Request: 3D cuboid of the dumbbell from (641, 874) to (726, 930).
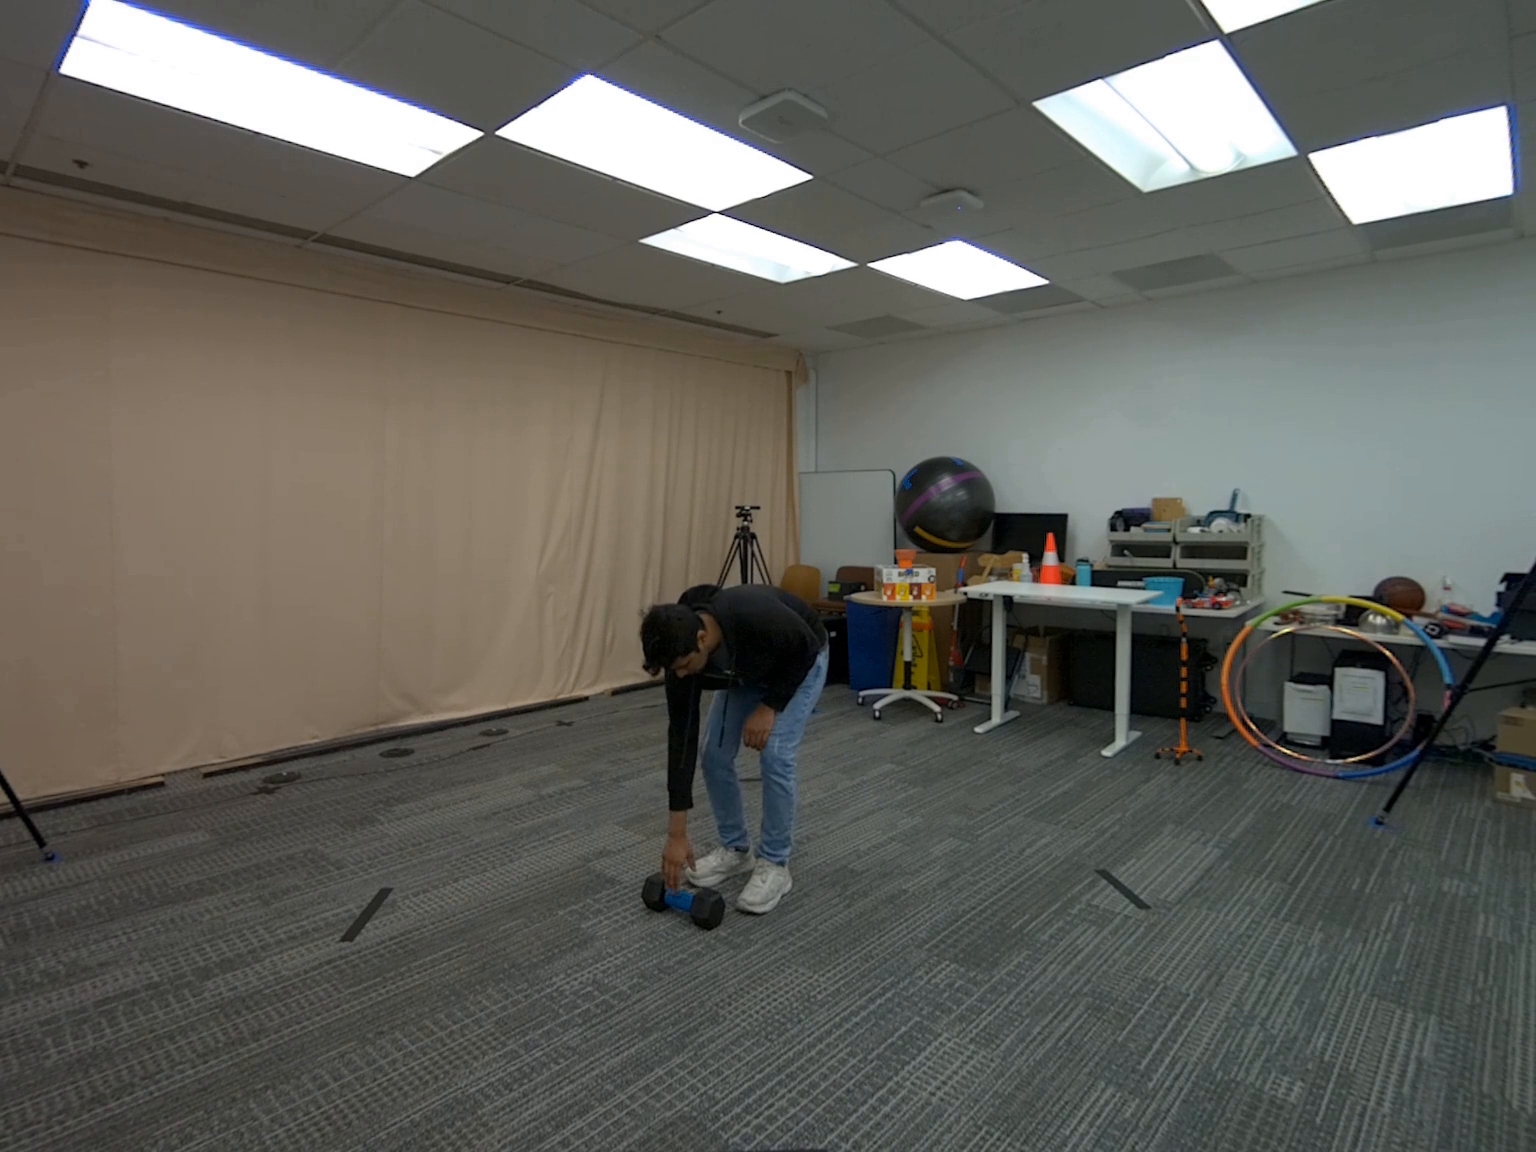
[{"bbox_3d":[-0.286,1.102,2.857,0.303,0.123,0.105,3,-26,35],"label":"dumbbell"}]
